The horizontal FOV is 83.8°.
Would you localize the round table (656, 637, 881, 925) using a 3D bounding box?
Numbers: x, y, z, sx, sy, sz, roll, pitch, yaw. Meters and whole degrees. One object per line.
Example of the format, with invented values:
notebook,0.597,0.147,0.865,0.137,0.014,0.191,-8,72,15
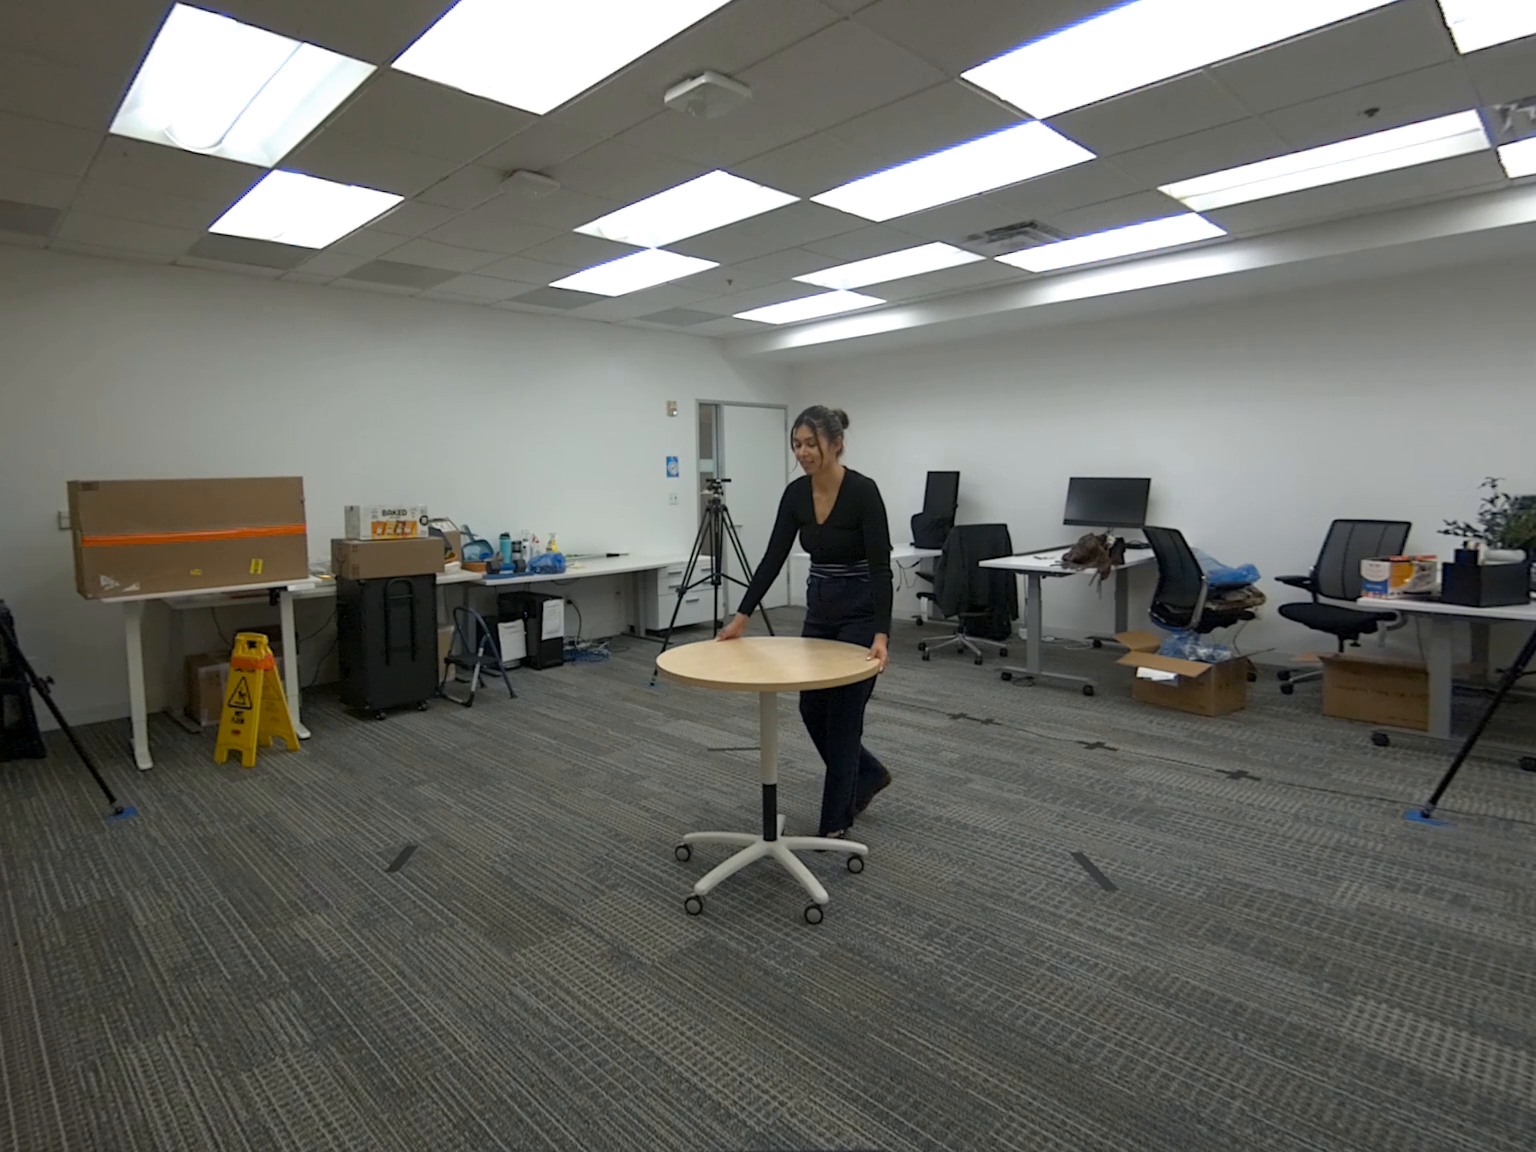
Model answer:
round table,0.002,0.671,2.966,0.763,0.791,0.768,-1,5,-2
